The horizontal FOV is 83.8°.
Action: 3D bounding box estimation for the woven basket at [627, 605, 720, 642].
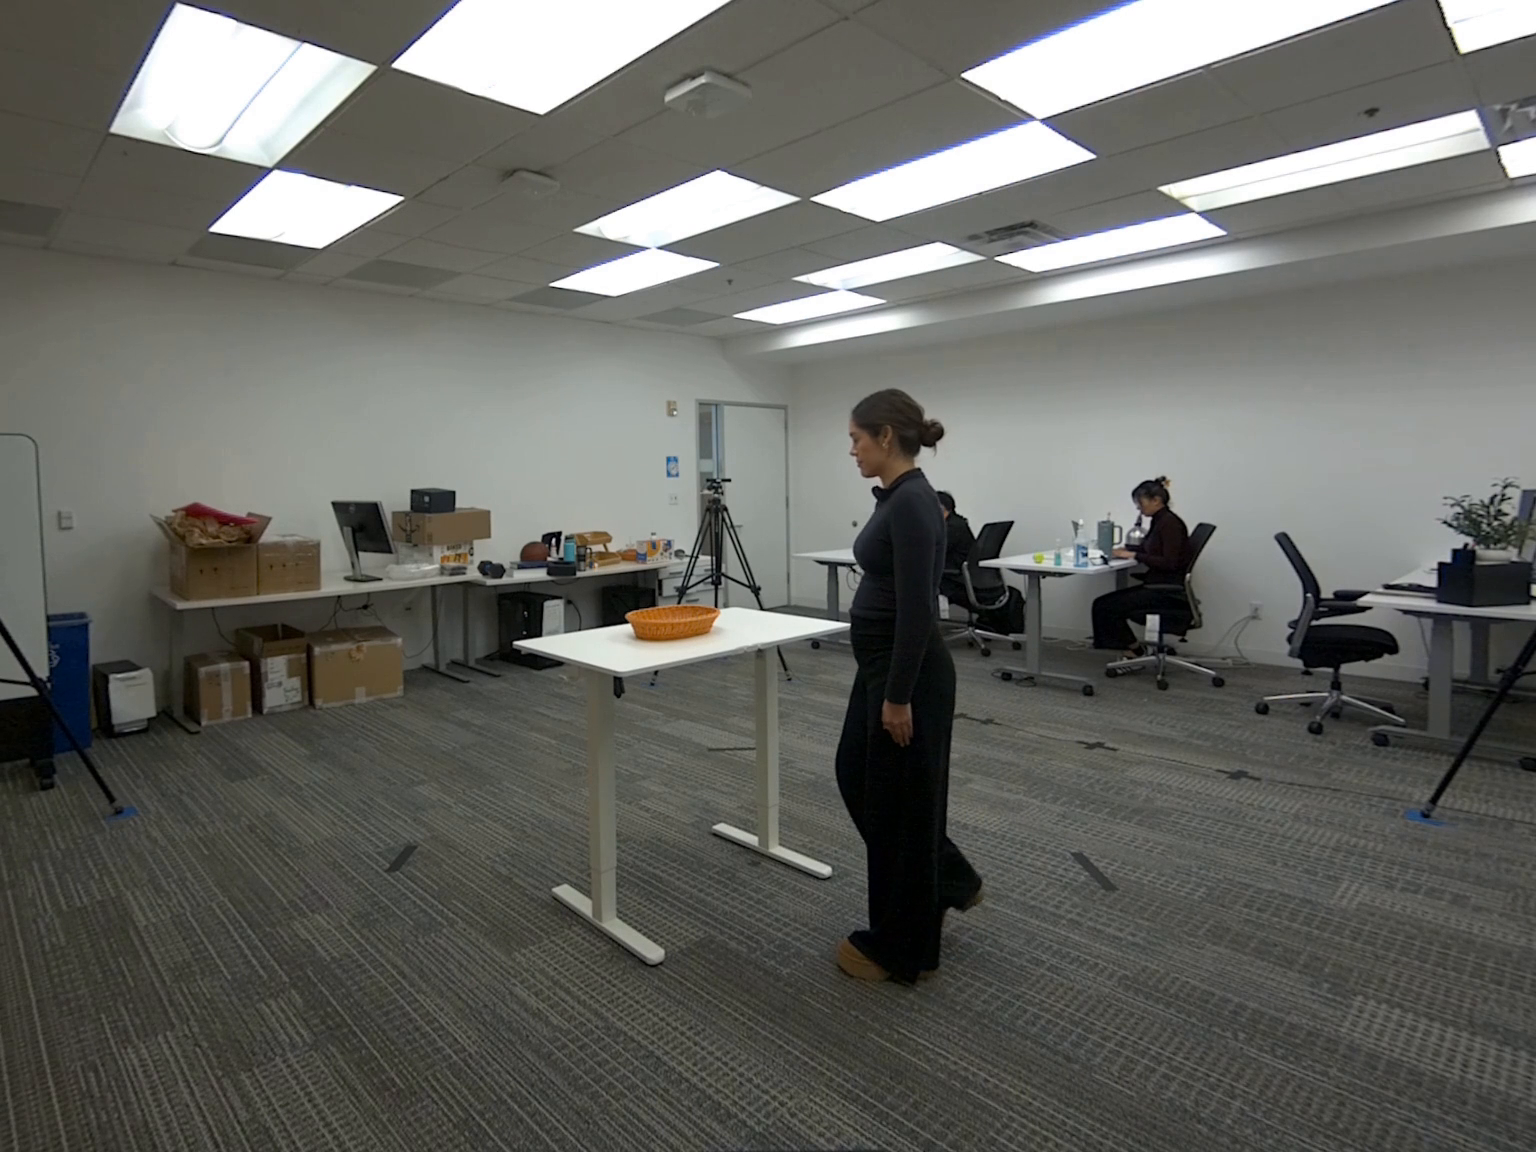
[{"bbox_3d":[-0.314,0.167,2.863,0.260,0.073,0.341,6,9,45],"label":"woven basket"}]
